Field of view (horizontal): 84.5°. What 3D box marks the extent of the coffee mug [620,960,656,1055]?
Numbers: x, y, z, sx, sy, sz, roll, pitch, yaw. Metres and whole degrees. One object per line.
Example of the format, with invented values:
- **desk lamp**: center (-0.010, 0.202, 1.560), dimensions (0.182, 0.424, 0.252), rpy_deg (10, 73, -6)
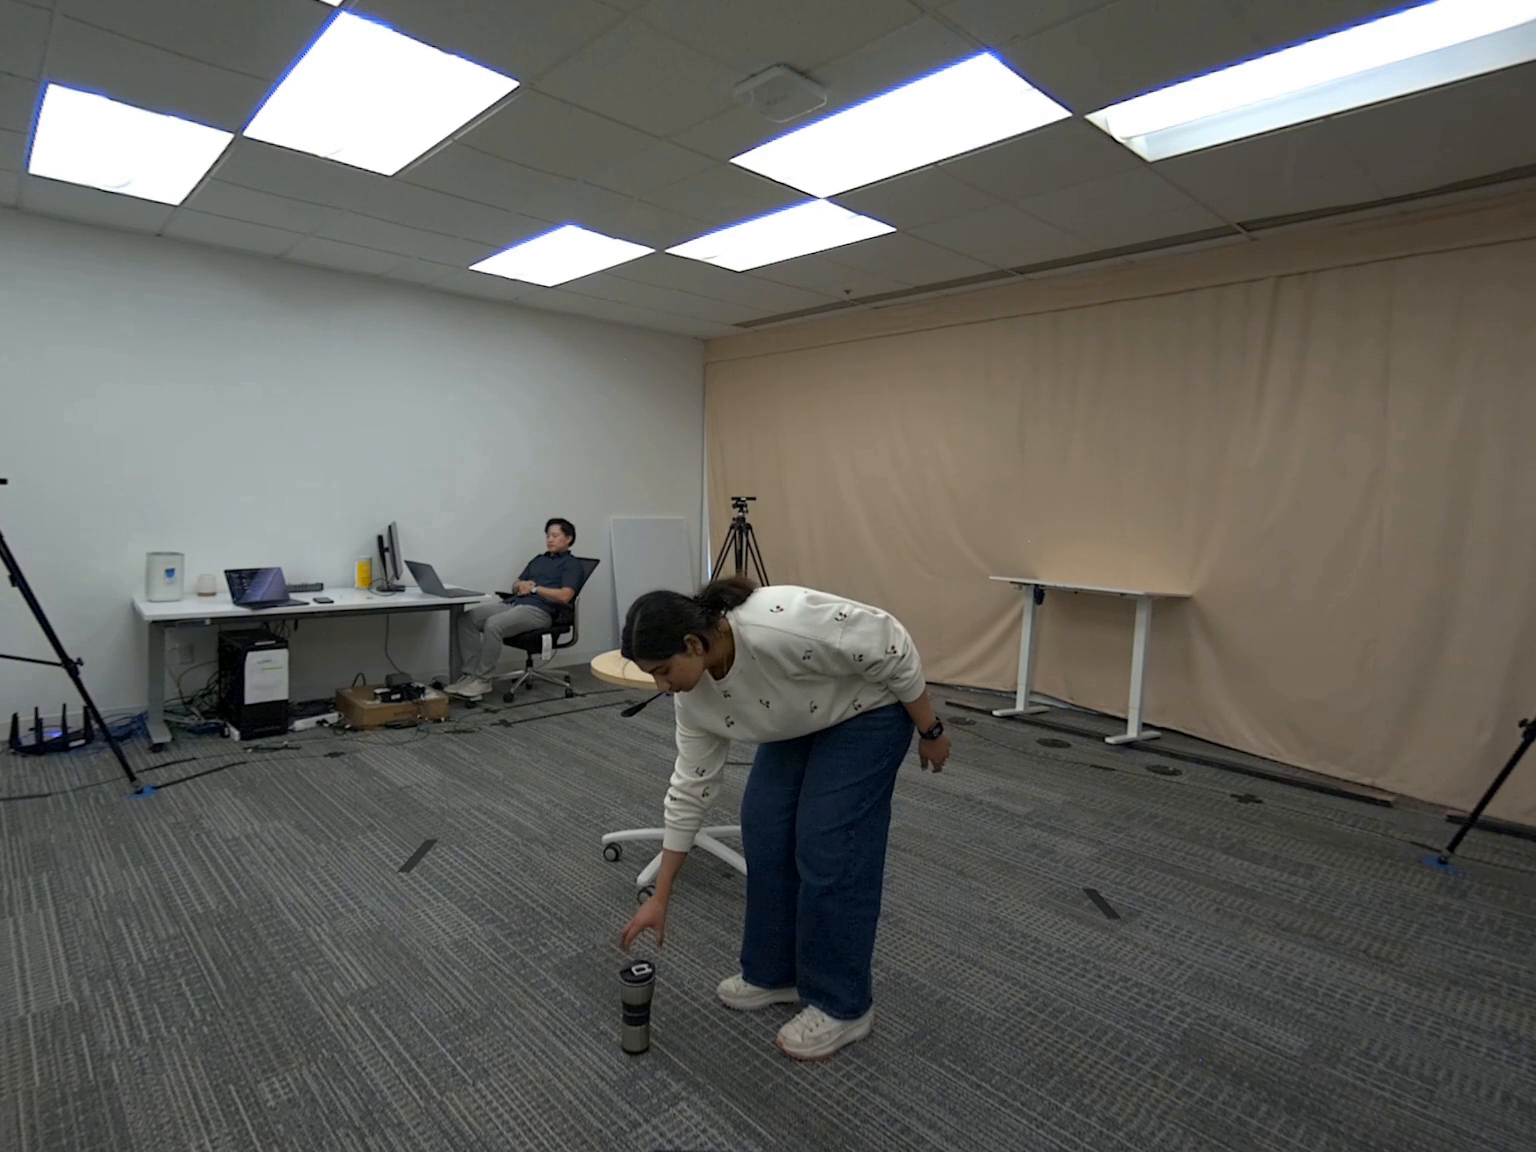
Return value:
- **coffee mug**: center (-0.318, 1.090, 2.141), dimensions (0.090, 0.202, 0.119), rpy_deg (0, 4, 43)
